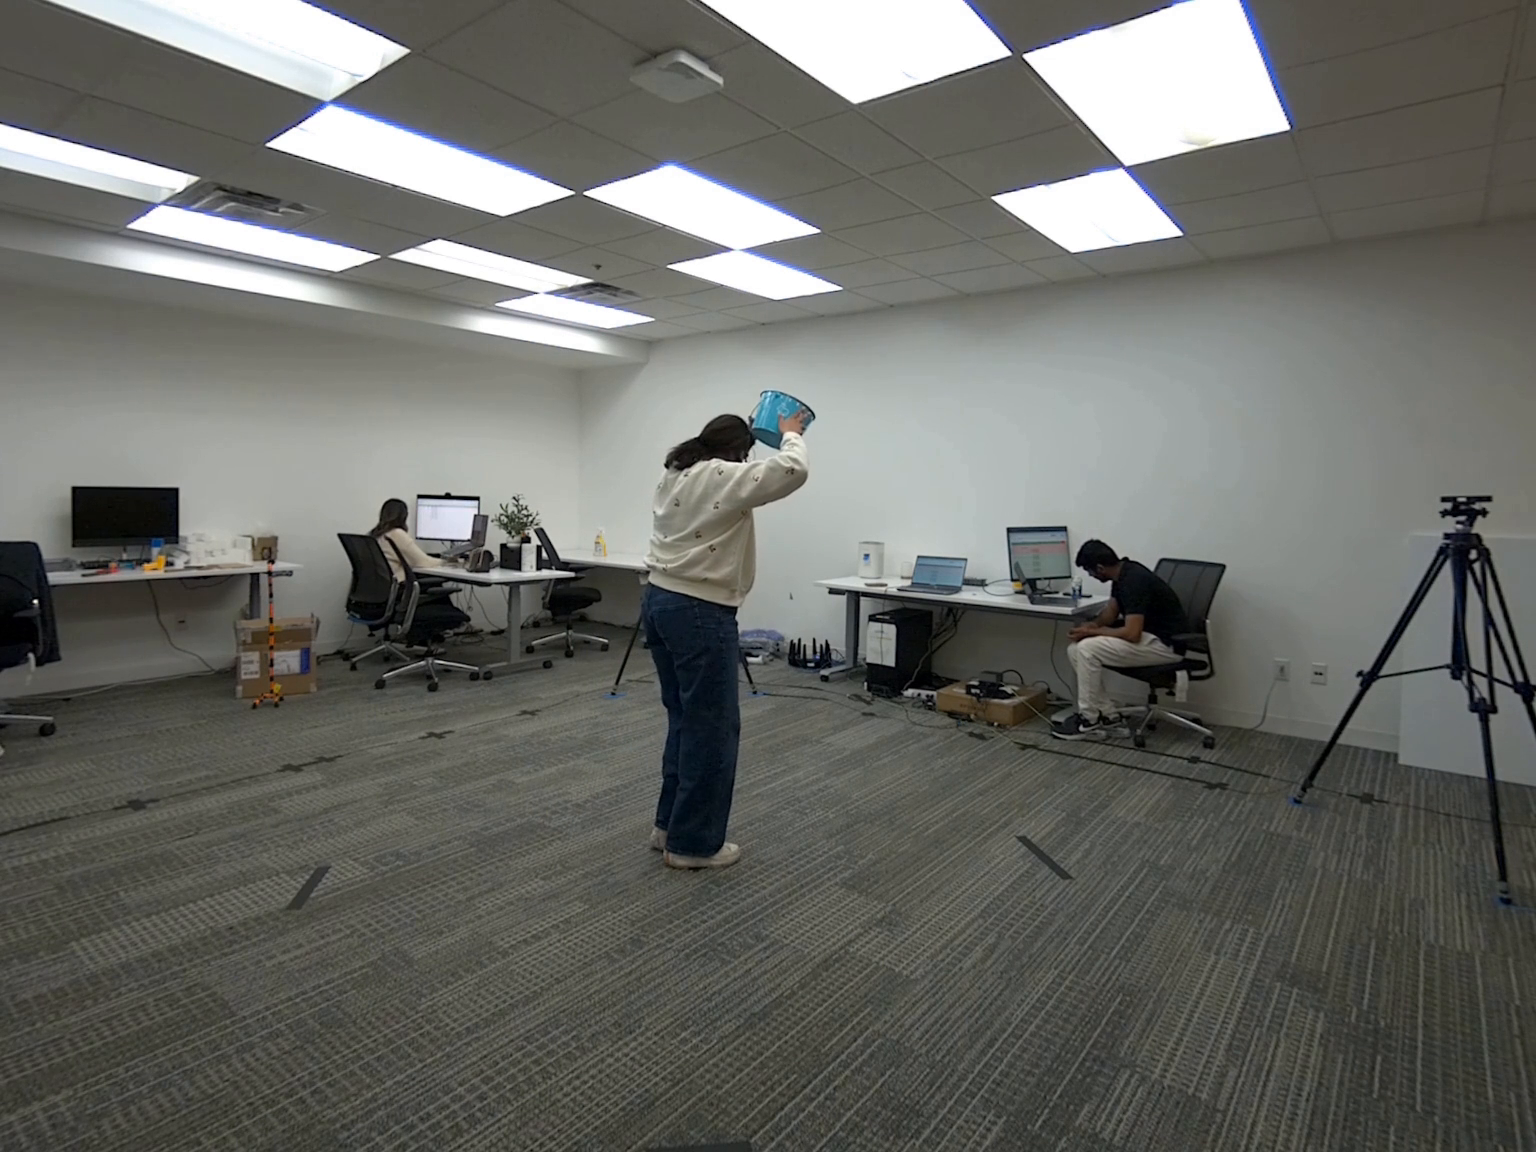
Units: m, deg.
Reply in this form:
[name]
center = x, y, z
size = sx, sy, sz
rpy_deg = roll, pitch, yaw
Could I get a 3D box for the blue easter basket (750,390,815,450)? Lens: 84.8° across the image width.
[blue easter basket]
center = 0.030, -0.597, 3.301
size = 0.245, 0.156, 0.242
rpy_deg = 26, -8, 2
